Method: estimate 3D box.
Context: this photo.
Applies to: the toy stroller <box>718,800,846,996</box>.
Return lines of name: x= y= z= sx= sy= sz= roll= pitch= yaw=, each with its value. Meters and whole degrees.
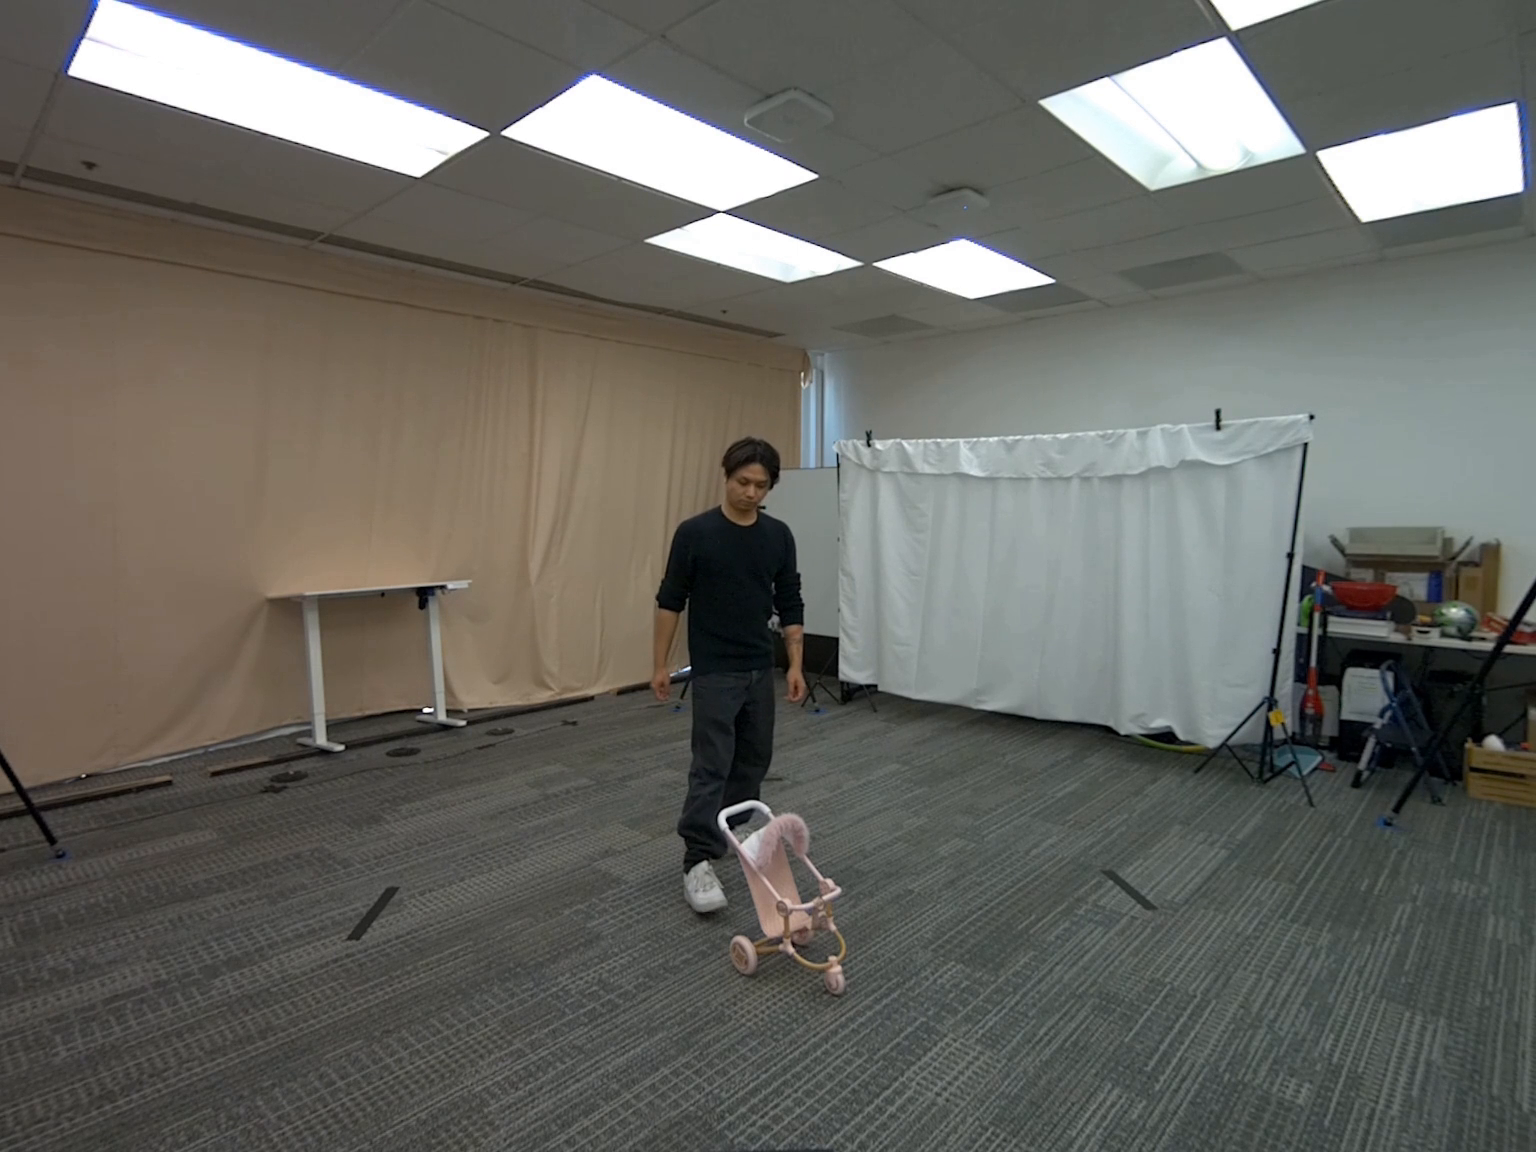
toy stroller: x=0.063 y=0.957 z=2.530 sx=0.273 sy=0.539 sz=0.349 roll=-3 pitch=-10 yaw=-39
